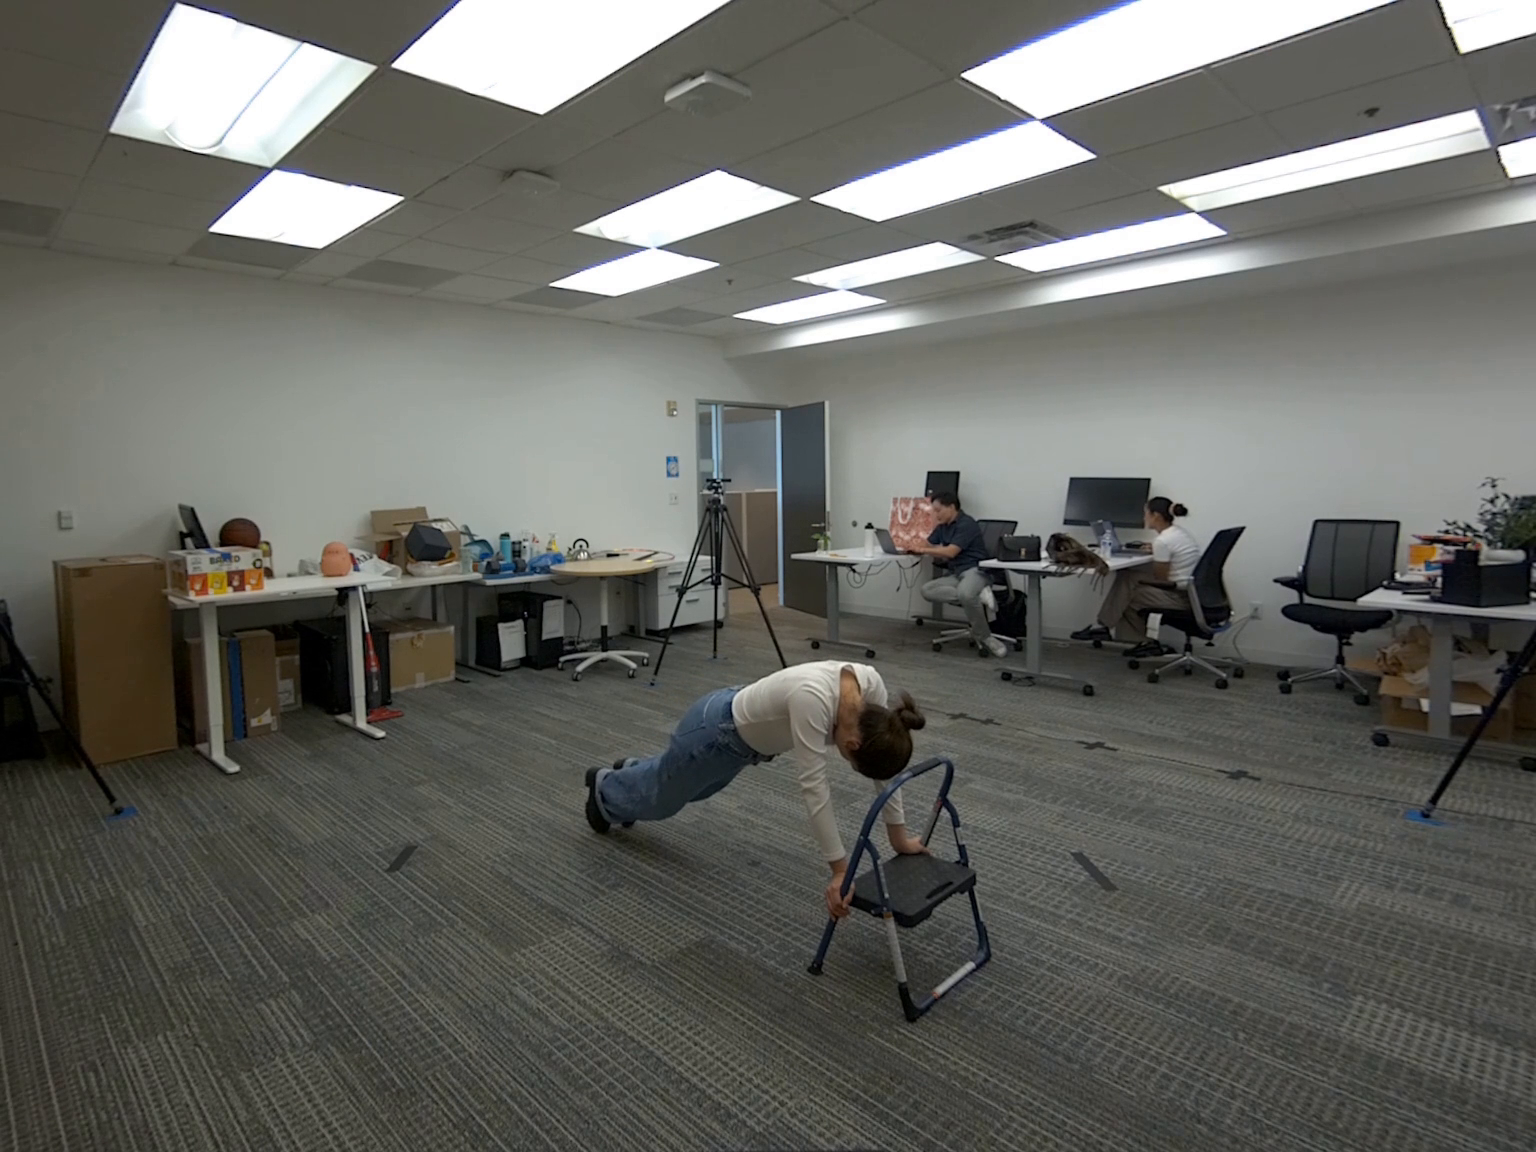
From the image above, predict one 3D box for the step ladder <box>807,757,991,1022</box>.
[{"bbox_3d":[0.382,0.816,2.425,0.360,0.604,0.419,3,6,43],"label":"step ladder"}]
